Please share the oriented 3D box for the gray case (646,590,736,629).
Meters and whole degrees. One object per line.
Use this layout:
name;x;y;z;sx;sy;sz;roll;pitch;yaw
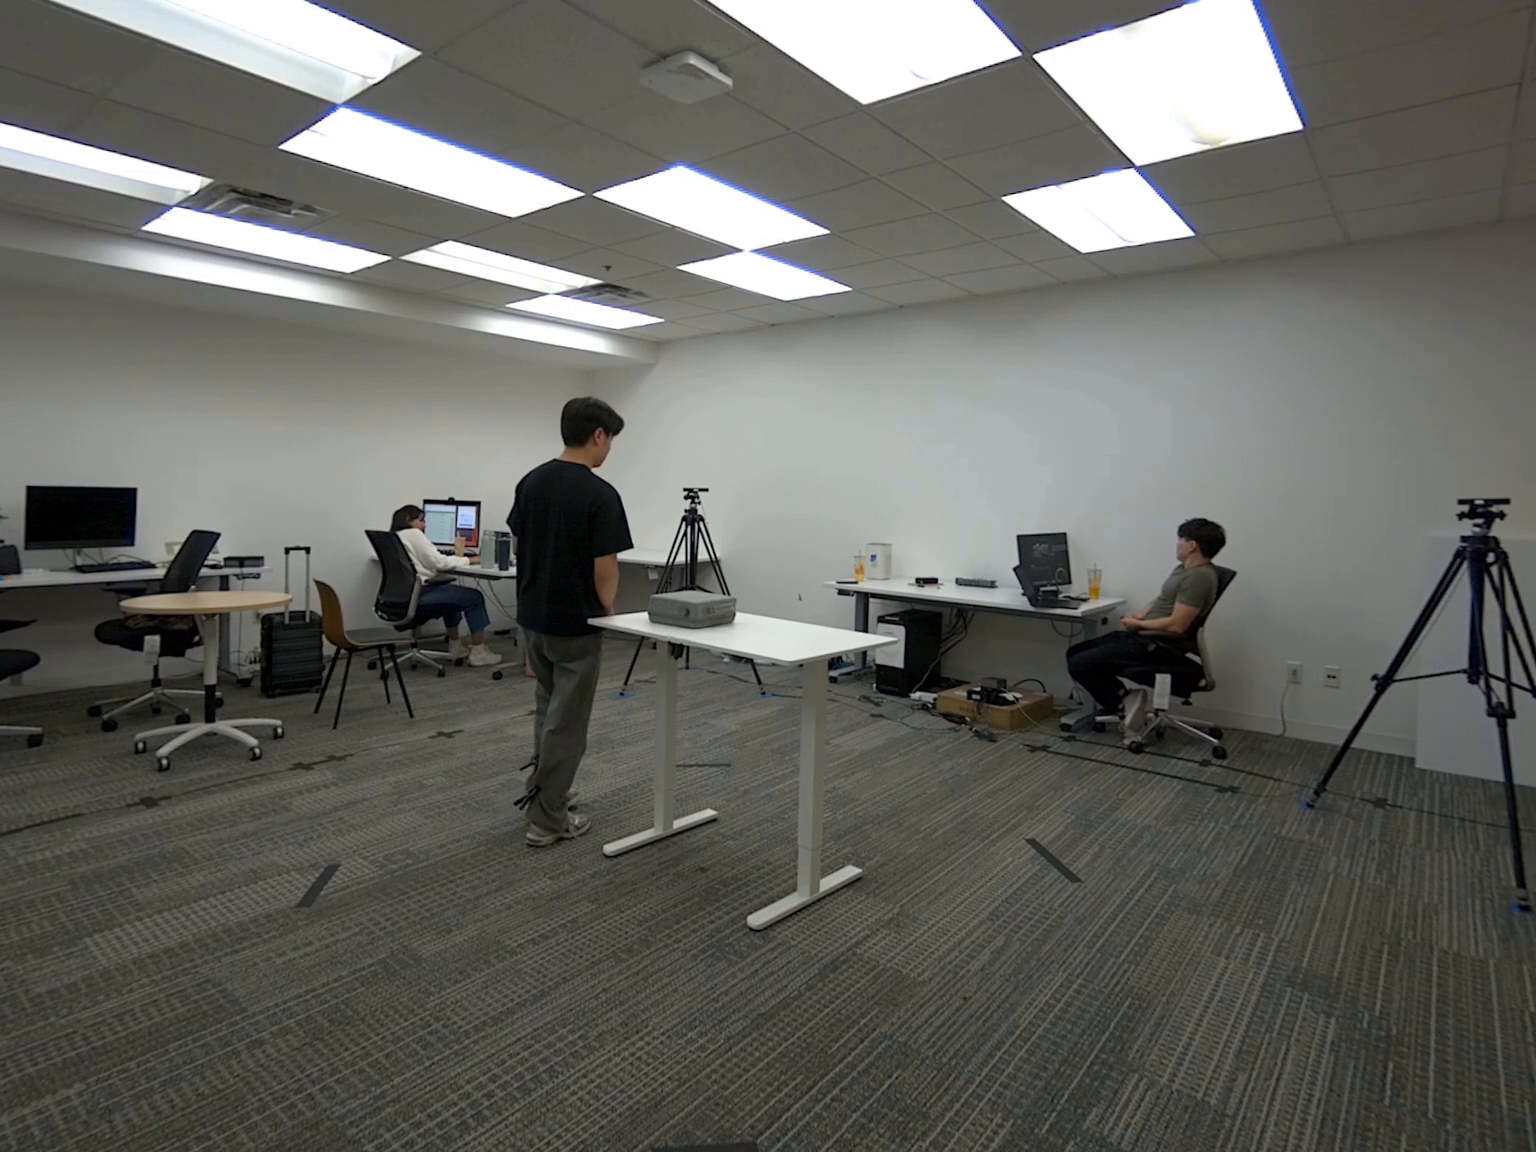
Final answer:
gray case;-0.281;0.121;3.206;0.297;0.102;0.256;6;8;39
